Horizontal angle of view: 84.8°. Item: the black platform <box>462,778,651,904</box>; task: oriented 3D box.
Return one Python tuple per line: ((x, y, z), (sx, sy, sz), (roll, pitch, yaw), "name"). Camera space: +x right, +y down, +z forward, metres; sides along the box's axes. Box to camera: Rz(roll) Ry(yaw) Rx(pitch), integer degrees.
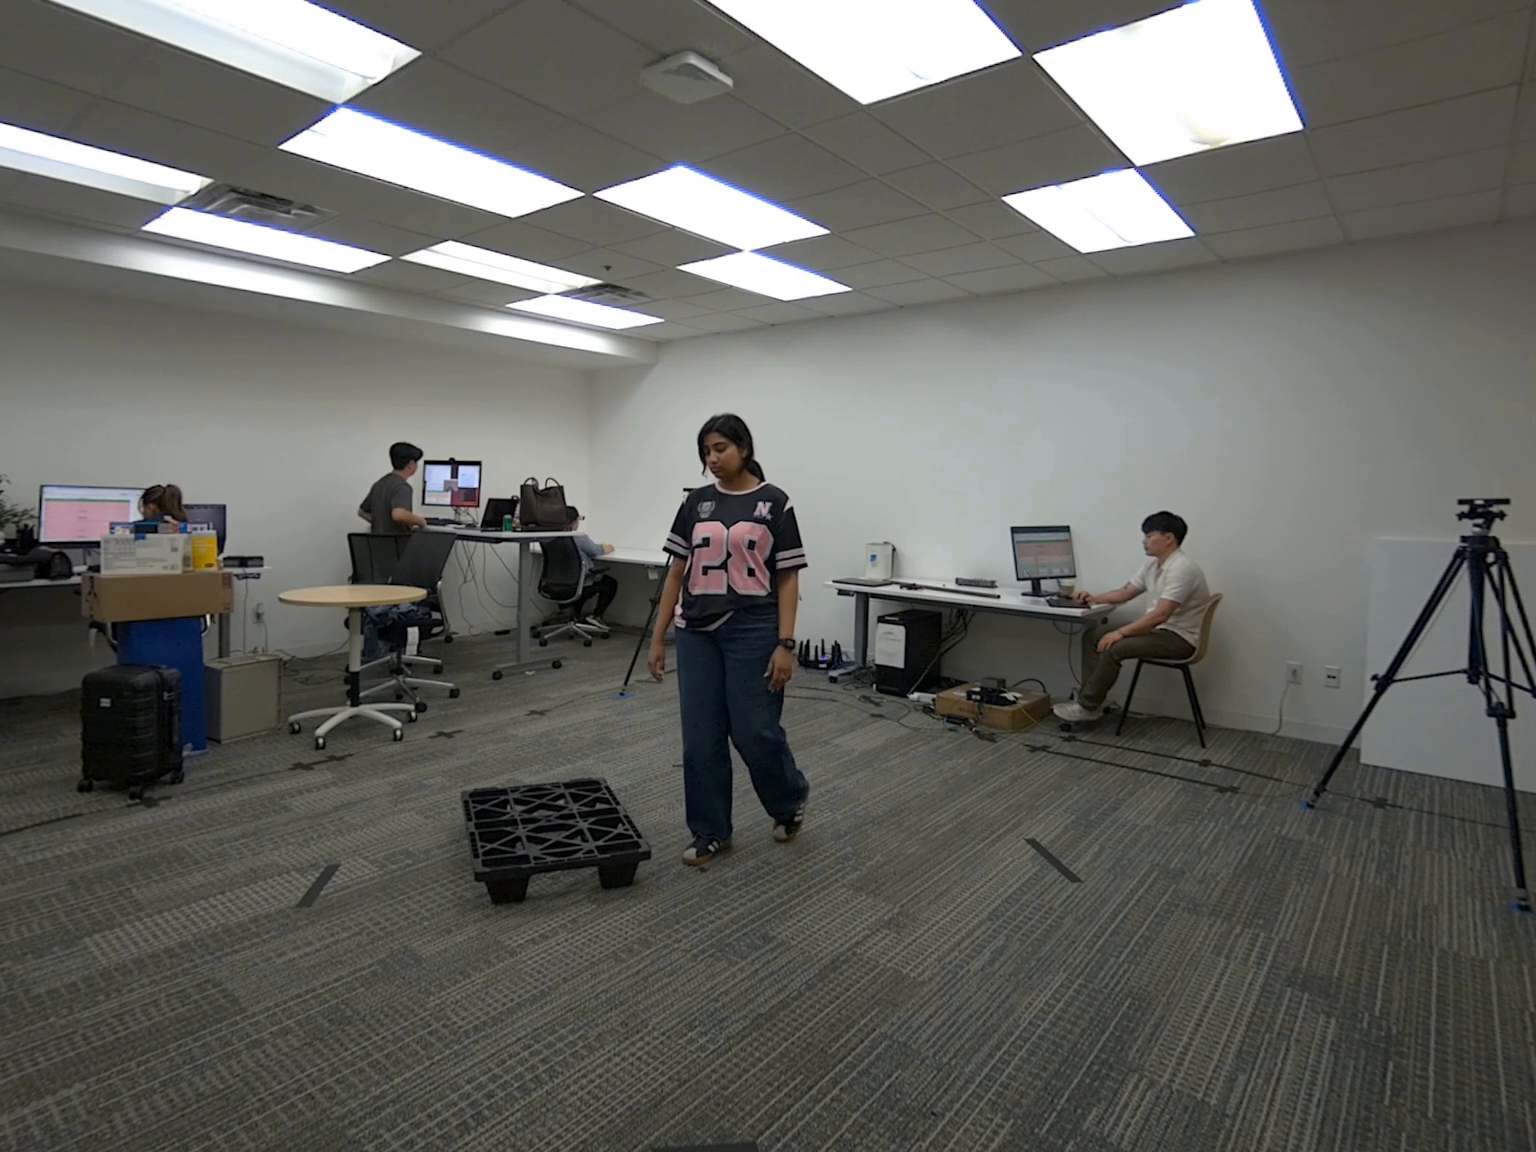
((-0.846, 0.980, 3.223), (0.593, 0.143, 0.825), (-2, 6, -22), "black platform")
